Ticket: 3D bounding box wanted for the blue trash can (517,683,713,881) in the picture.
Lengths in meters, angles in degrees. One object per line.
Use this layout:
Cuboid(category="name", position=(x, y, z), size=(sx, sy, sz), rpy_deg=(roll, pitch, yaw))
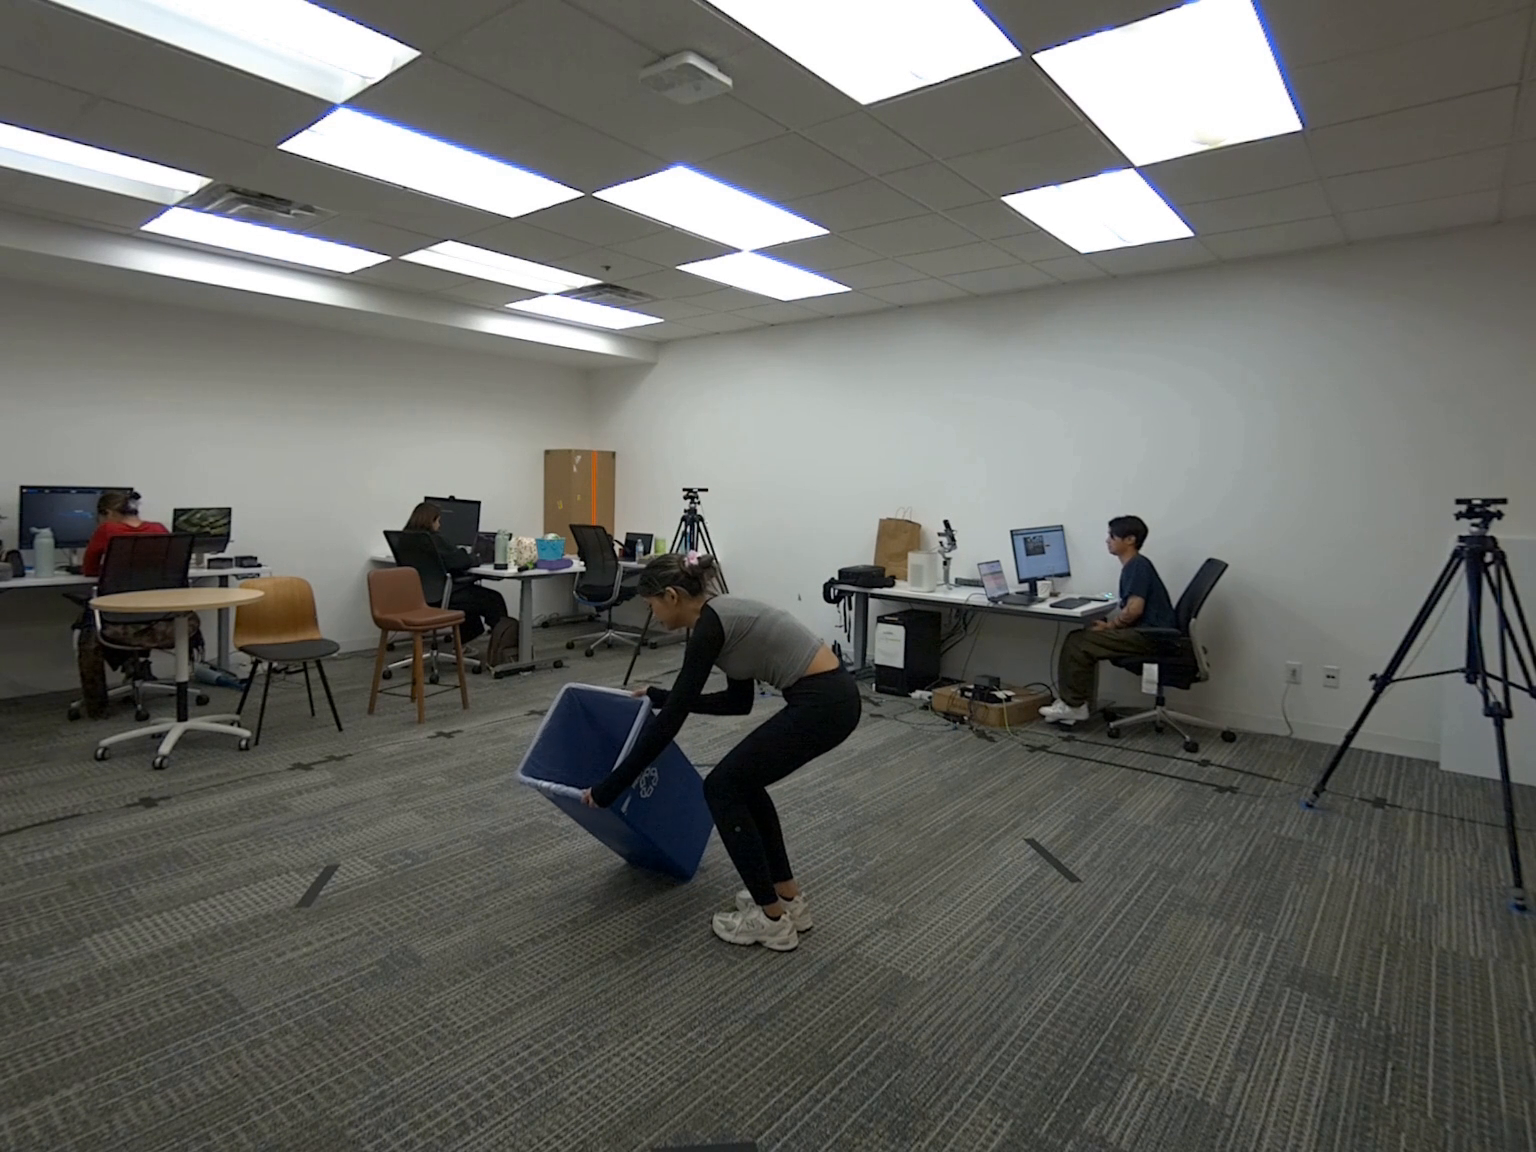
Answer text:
Cuboid(category="blue trash can", position=(-0.478, 0.729, 2.936), size=(0.385, 0.382, 0.685), rpy_deg=(3, -38, 31))
